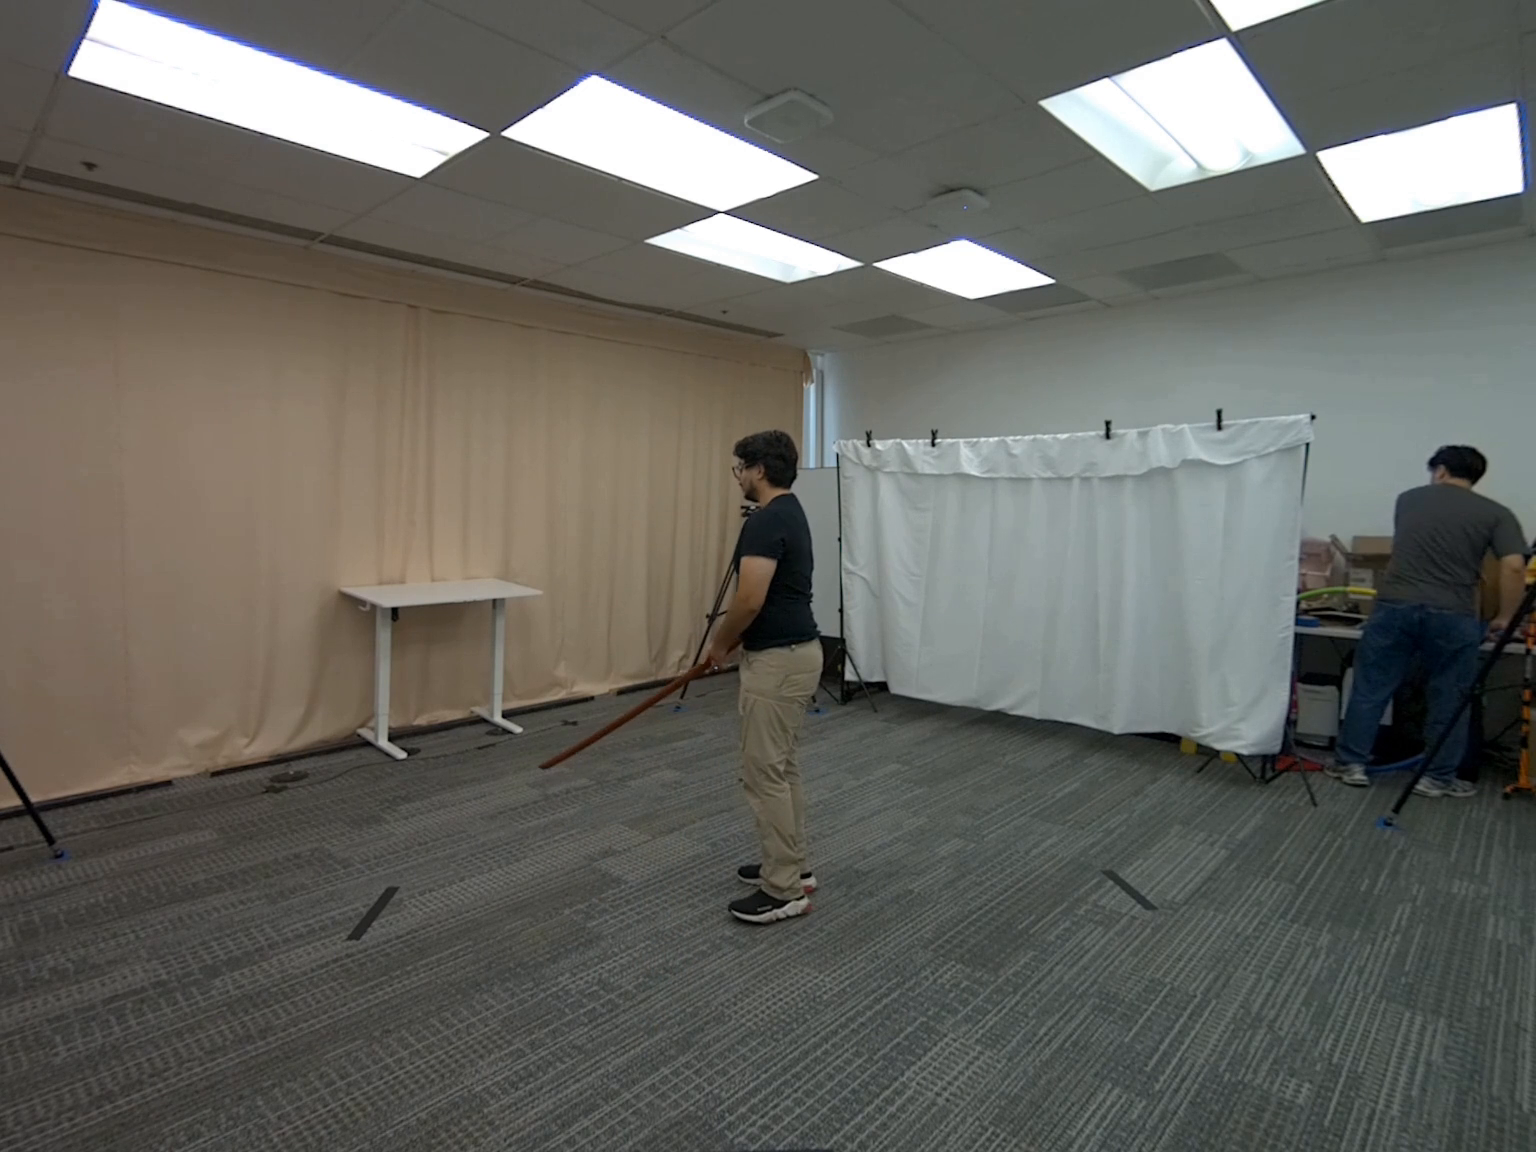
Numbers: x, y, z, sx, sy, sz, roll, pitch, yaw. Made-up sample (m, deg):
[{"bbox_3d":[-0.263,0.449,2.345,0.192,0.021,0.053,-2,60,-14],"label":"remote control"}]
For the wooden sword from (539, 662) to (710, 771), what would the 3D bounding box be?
[{"bbox_3d":[-0.513,0.519,3.257,1.033,0.053,0.023,-31,-47,14],"label":"wooden sword"}]
